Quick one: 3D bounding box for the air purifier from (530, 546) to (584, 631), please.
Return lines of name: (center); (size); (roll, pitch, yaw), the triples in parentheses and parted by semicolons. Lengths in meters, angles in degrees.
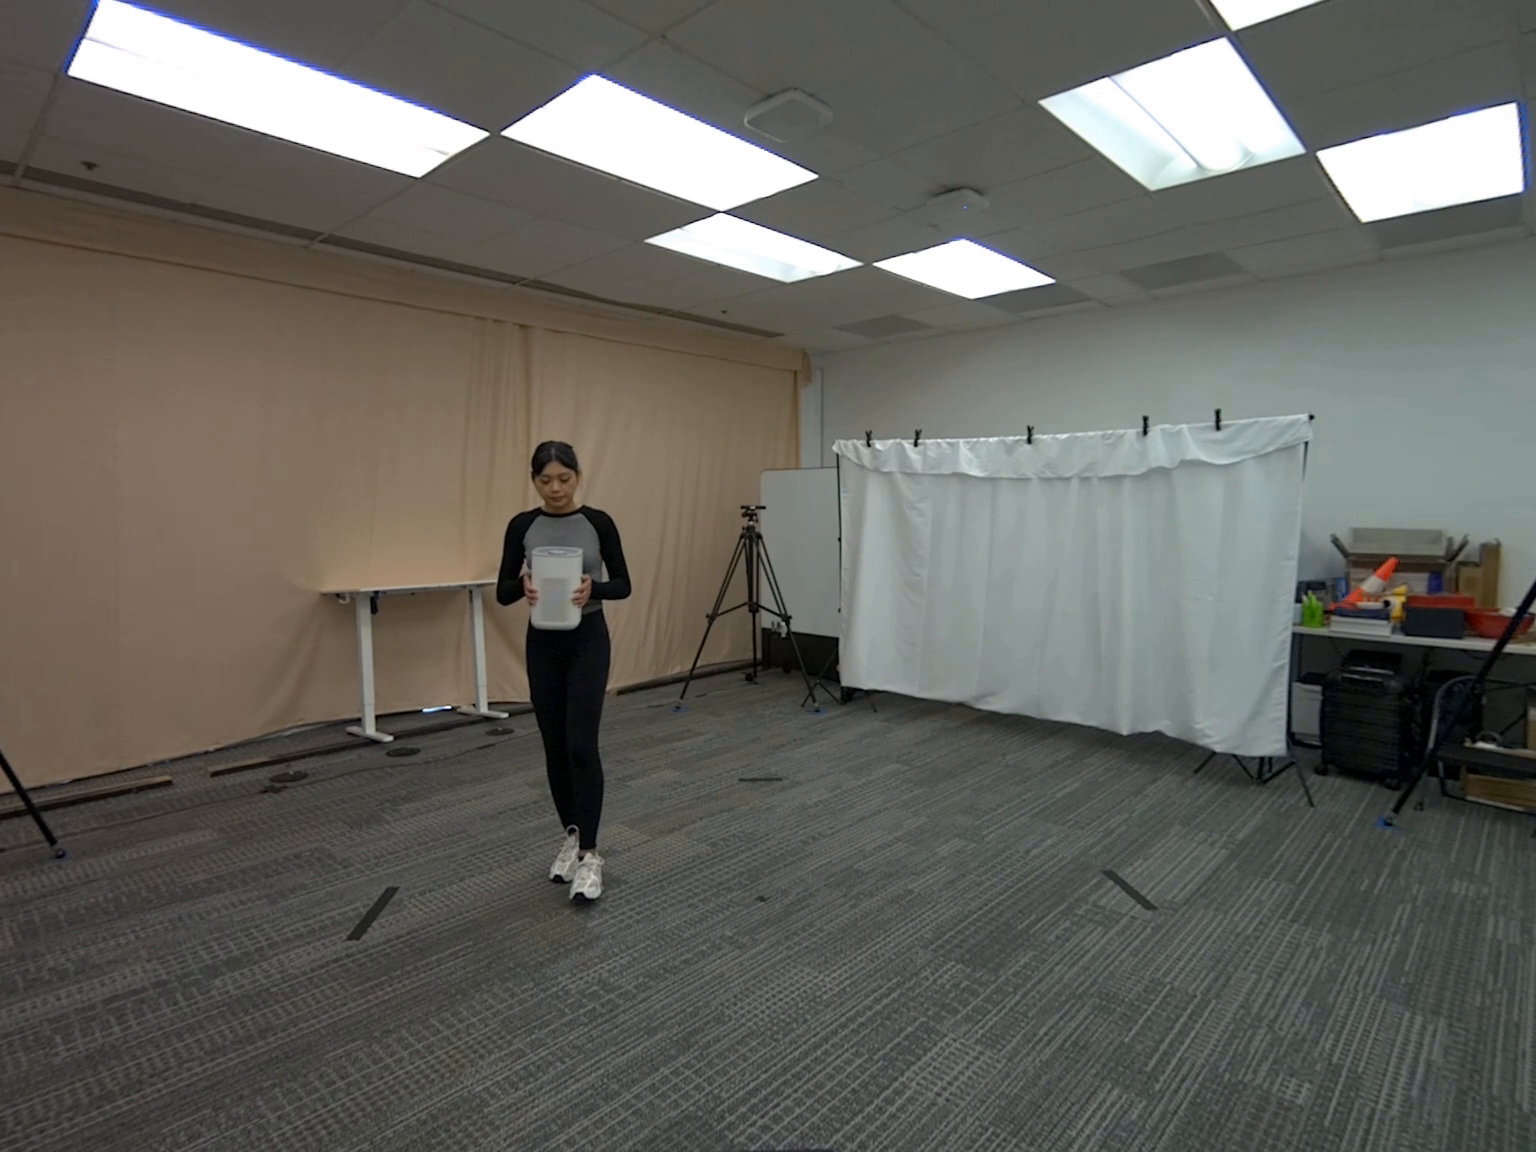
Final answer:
air purifier: (-0.724, 0.043, 2.932); (0.170, 0.264, 0.173); (3, 10, -8)
